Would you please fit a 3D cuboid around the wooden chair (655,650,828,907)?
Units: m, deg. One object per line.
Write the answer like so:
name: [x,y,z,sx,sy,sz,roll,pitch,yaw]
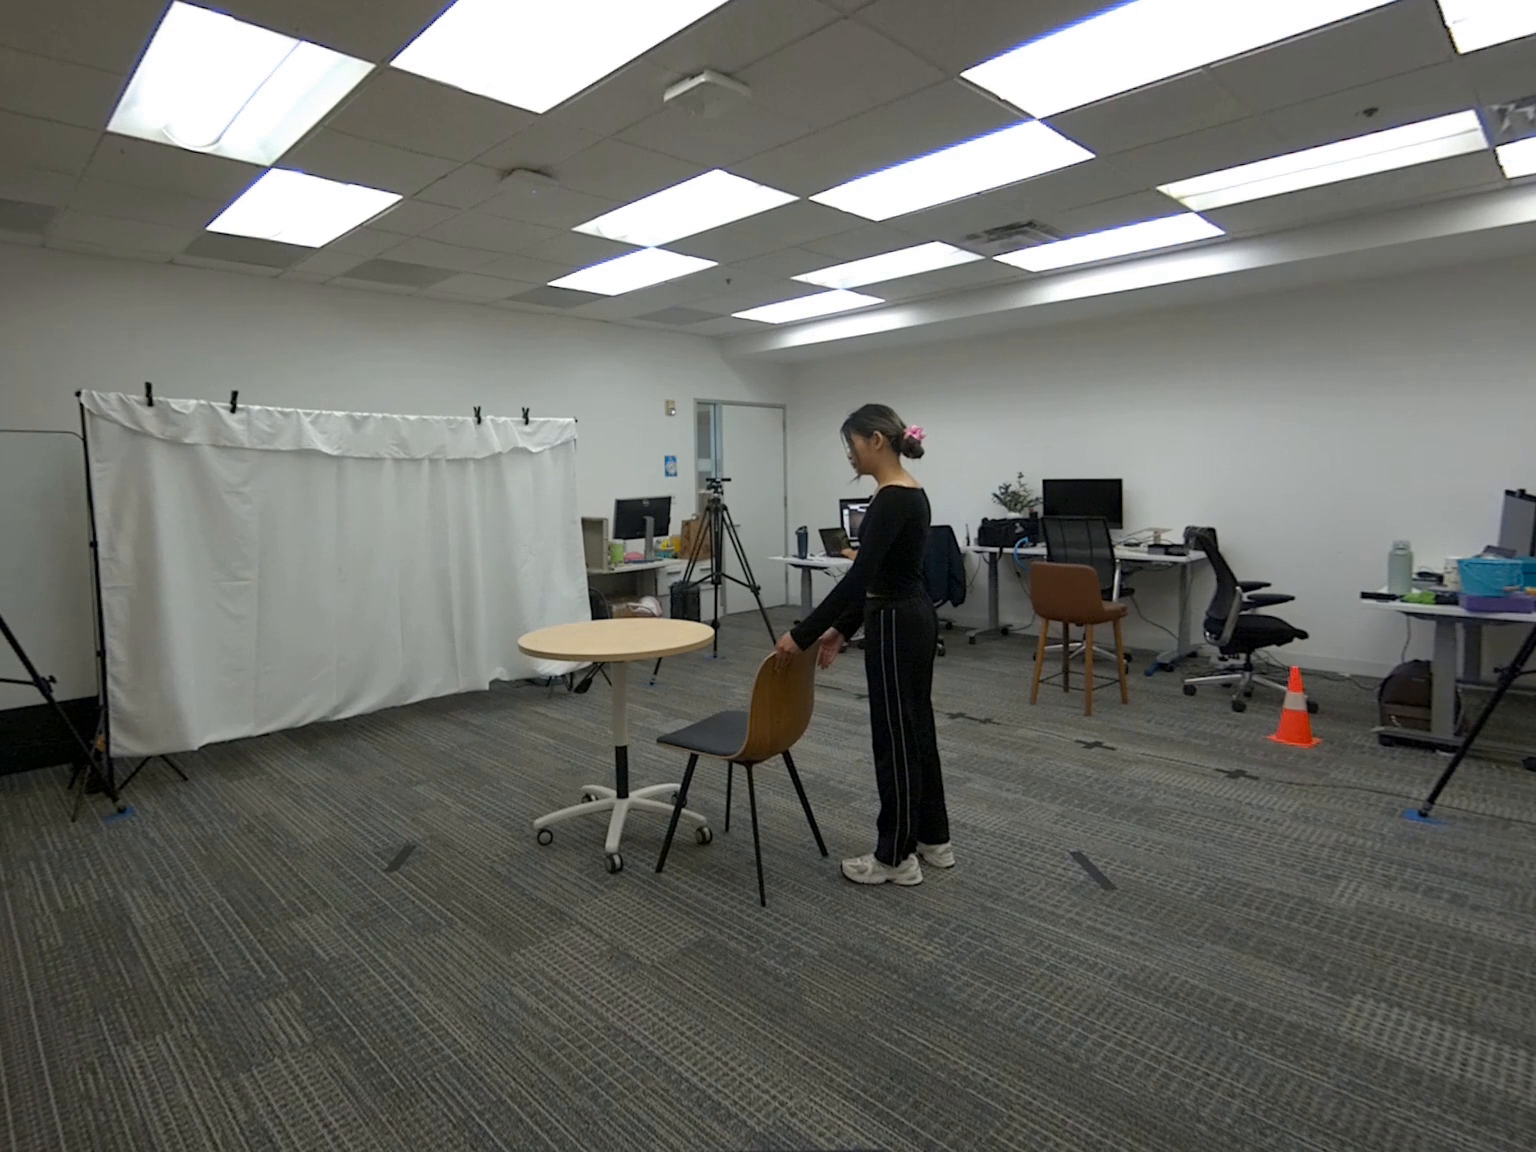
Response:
wooden chair: [-0.098,0.619,3.060,0.539,0.872,0.467,7,8,33]
